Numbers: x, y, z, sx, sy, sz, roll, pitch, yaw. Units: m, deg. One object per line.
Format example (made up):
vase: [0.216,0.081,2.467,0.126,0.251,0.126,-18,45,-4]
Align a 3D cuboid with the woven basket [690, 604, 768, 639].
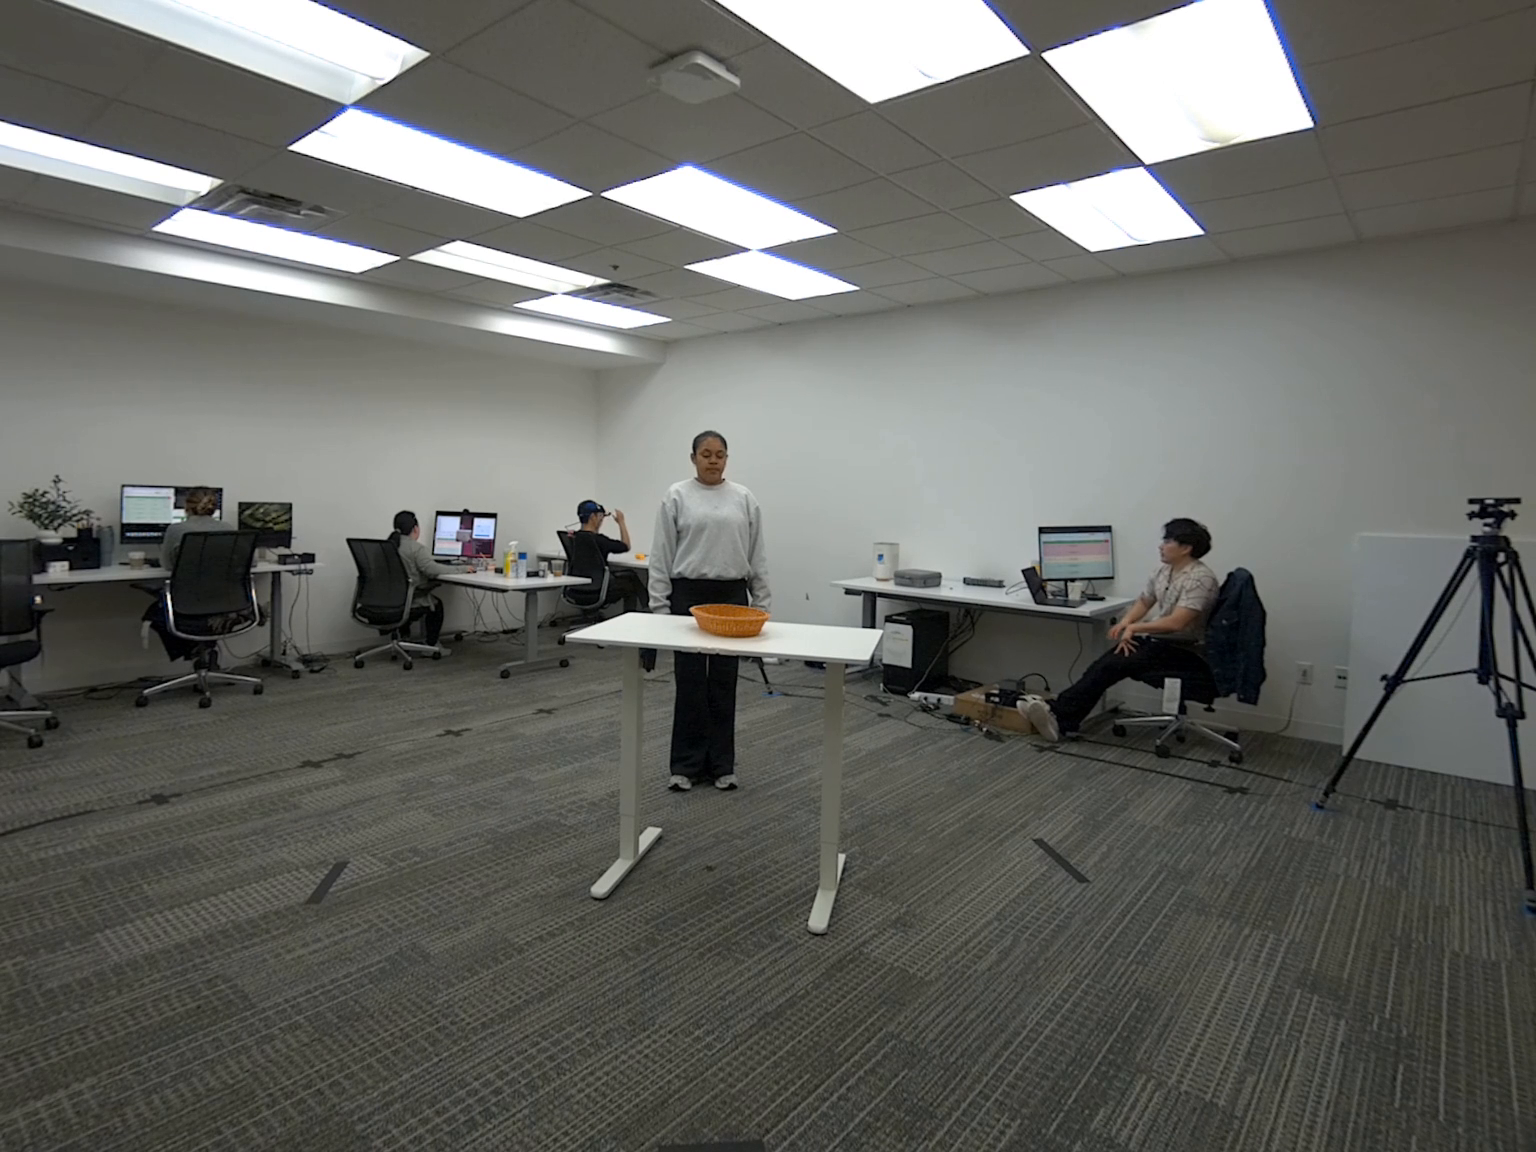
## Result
woven basket: [-0.150,0.161,3.041,0.247,0.073,0.360,-2,7,-23]
